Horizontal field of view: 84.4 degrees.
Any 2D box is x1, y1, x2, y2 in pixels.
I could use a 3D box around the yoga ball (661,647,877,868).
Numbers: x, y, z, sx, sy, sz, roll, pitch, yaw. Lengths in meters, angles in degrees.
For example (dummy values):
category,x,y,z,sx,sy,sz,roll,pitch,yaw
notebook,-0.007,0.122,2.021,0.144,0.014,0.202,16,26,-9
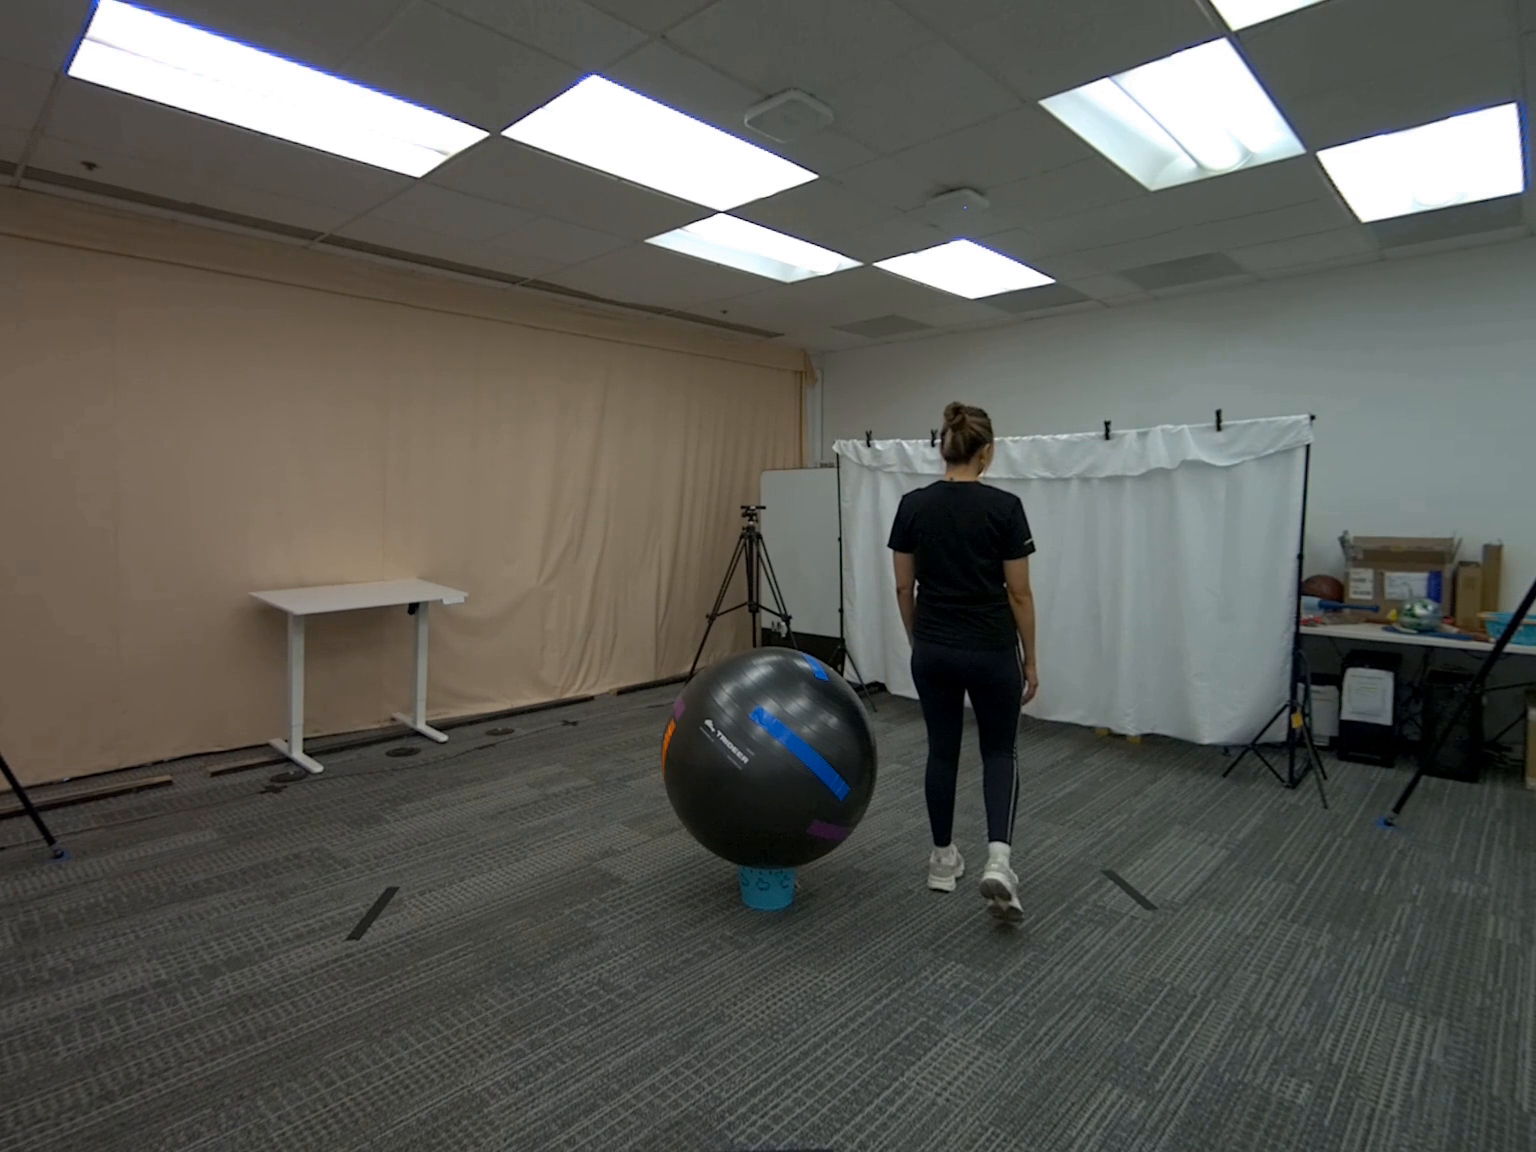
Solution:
category,x,y,z,sx,sy,sz,roll,pitch,yaw
yoga ball,0.005,0.638,2.967,0.757,0.756,0.760,0,4,-2
